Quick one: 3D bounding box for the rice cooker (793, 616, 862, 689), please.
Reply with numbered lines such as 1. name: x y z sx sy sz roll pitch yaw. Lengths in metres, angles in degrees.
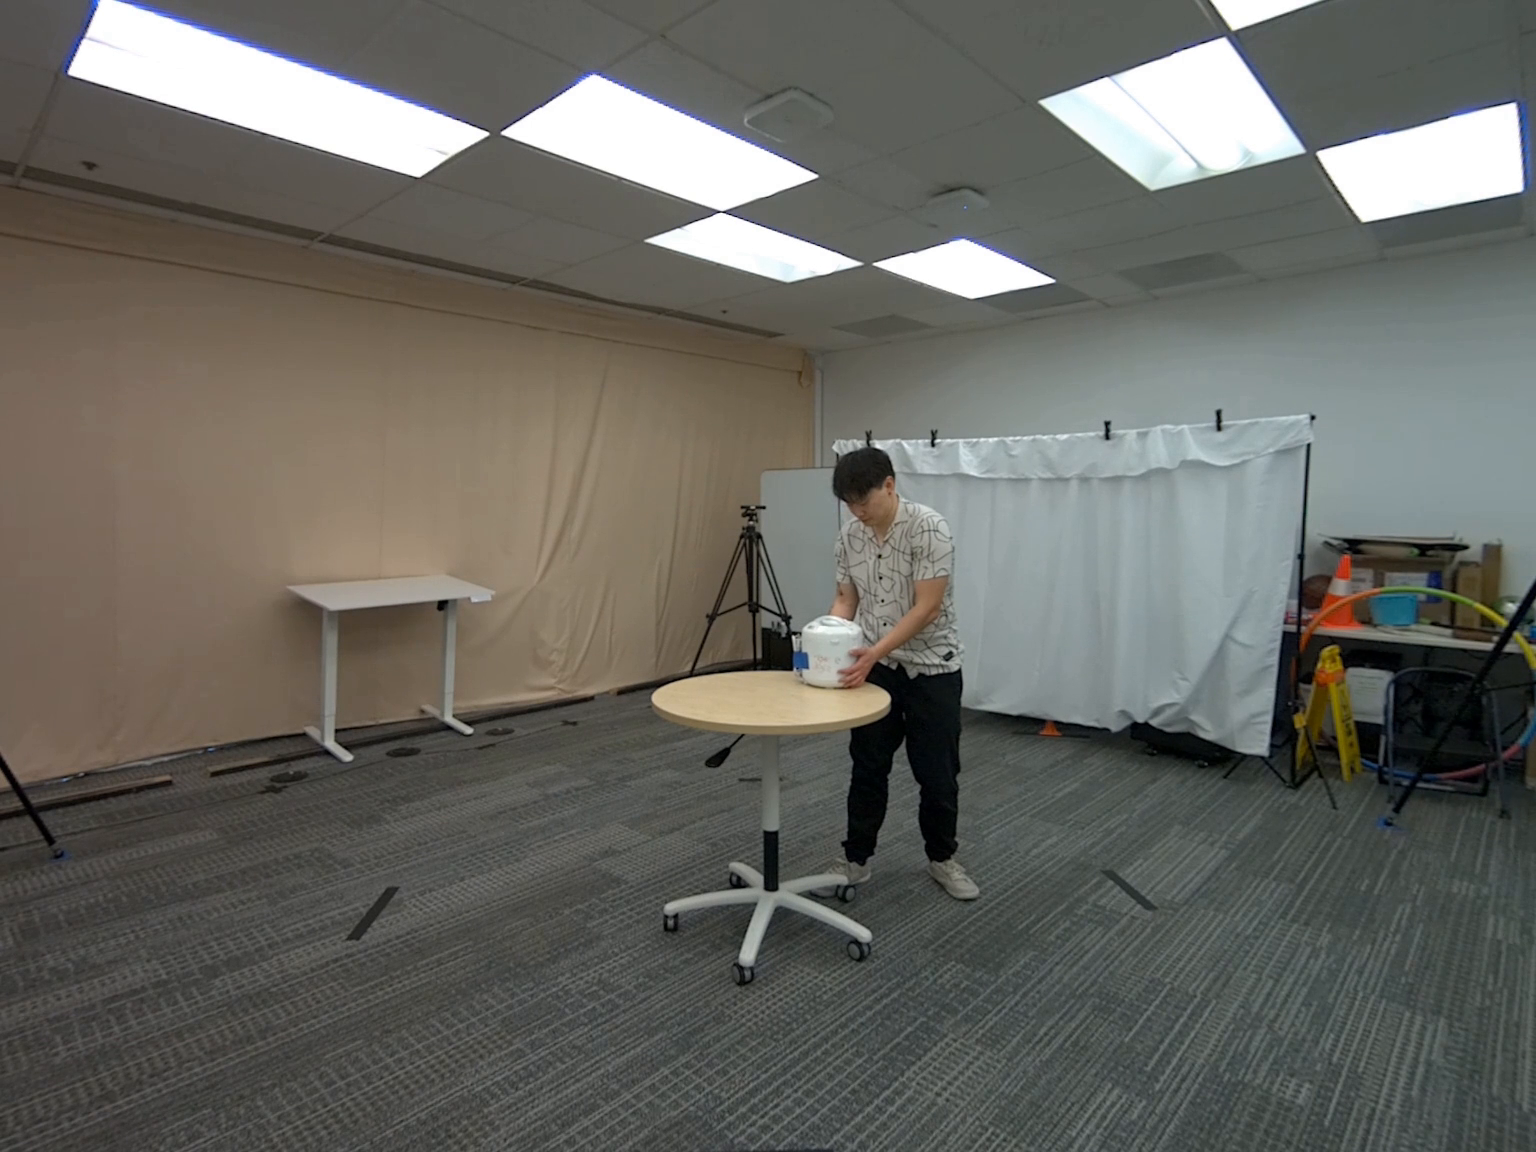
1. rice cooker: 0.220 0.254 2.872 0.211 0.232 0.228 -3 5 -39
